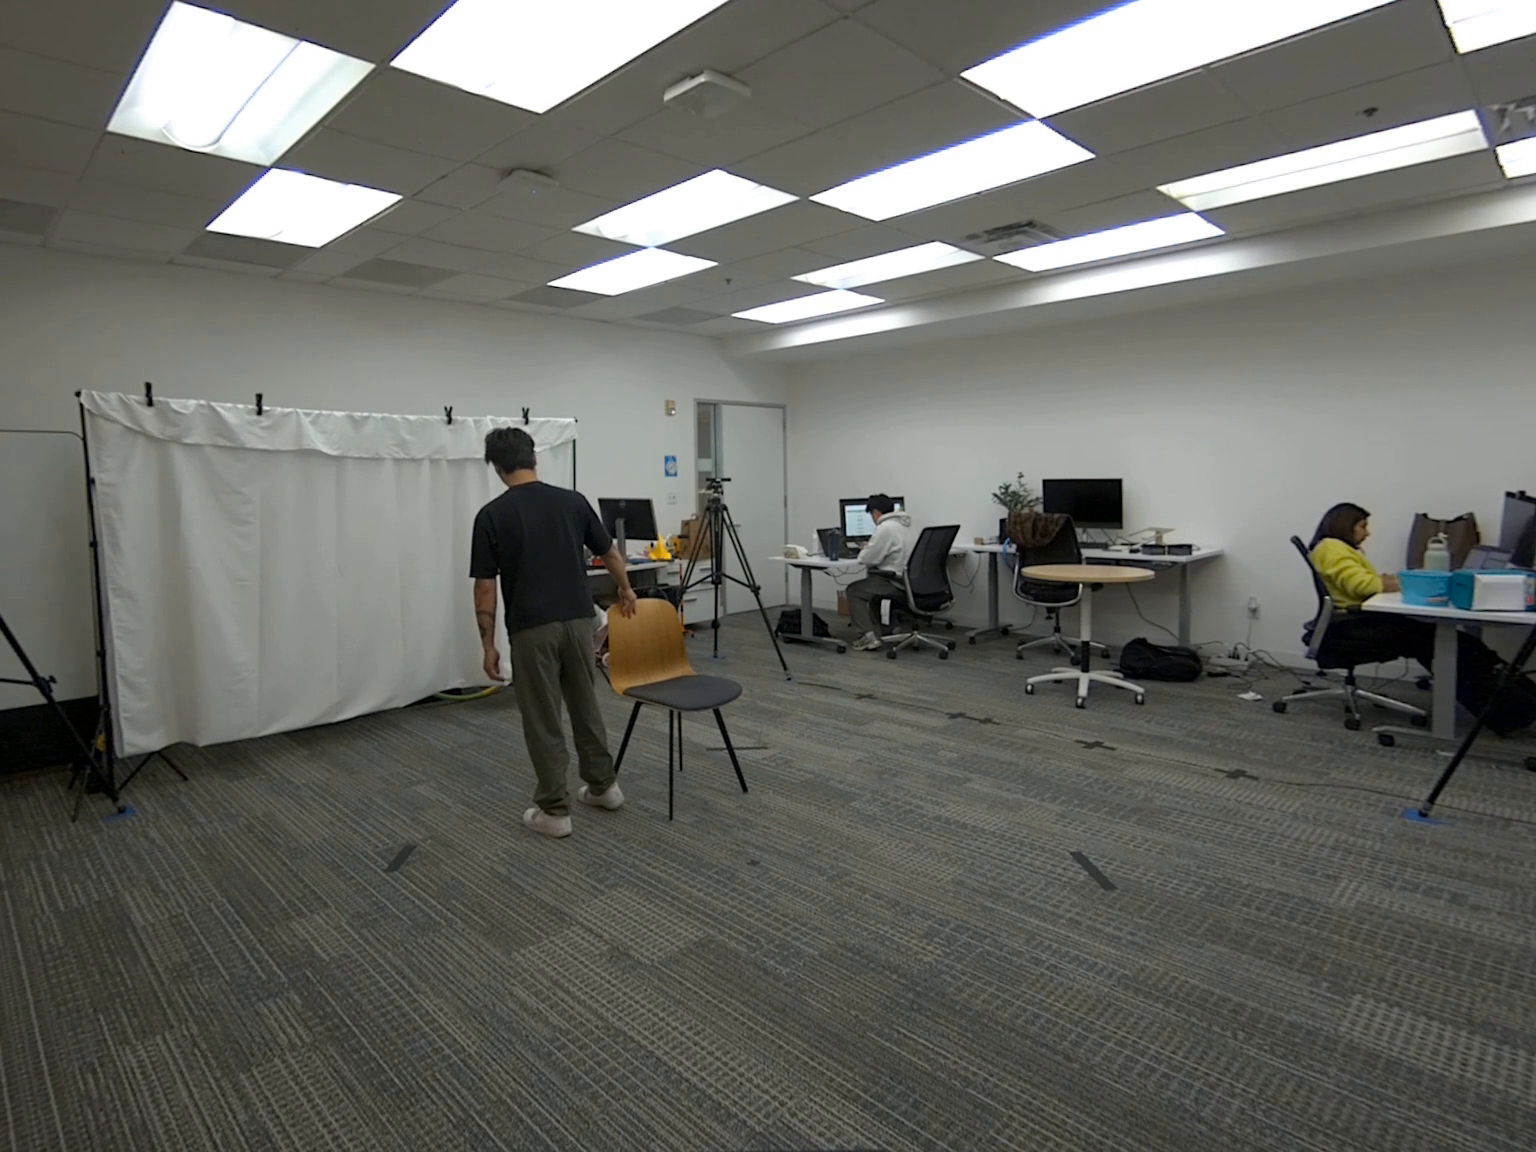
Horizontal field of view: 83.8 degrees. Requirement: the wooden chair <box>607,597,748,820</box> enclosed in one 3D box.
[{"bbox_3d":[-0.407,0.543,3.781,0.537,0.877,0.465,-3,1,45],"label":"wooden chair"}]
